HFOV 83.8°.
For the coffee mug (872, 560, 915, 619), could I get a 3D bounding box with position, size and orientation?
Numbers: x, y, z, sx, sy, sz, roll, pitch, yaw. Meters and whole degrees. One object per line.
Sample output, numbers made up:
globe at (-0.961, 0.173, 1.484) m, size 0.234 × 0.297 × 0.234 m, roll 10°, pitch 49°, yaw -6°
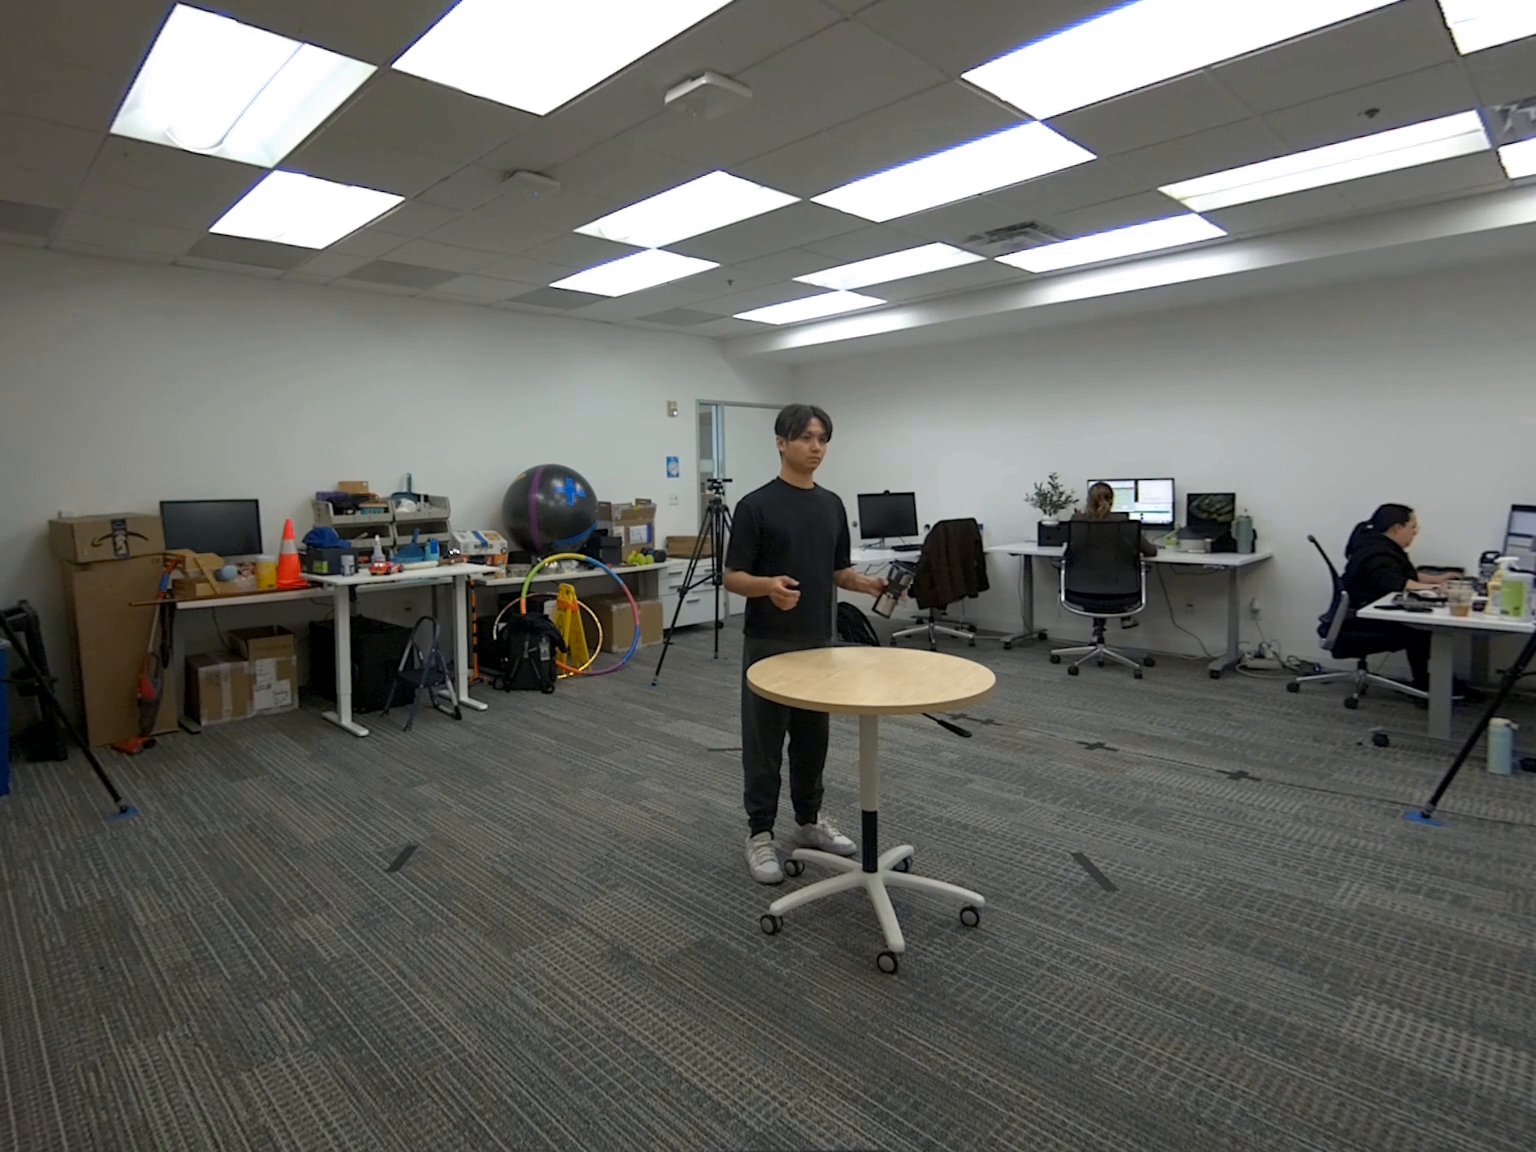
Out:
coffee mug at (0.422, 0.042, 3.030) m, size 0.091 × 0.203 × 0.117 m, roll 32°, pitch 4°, yaw 36°
